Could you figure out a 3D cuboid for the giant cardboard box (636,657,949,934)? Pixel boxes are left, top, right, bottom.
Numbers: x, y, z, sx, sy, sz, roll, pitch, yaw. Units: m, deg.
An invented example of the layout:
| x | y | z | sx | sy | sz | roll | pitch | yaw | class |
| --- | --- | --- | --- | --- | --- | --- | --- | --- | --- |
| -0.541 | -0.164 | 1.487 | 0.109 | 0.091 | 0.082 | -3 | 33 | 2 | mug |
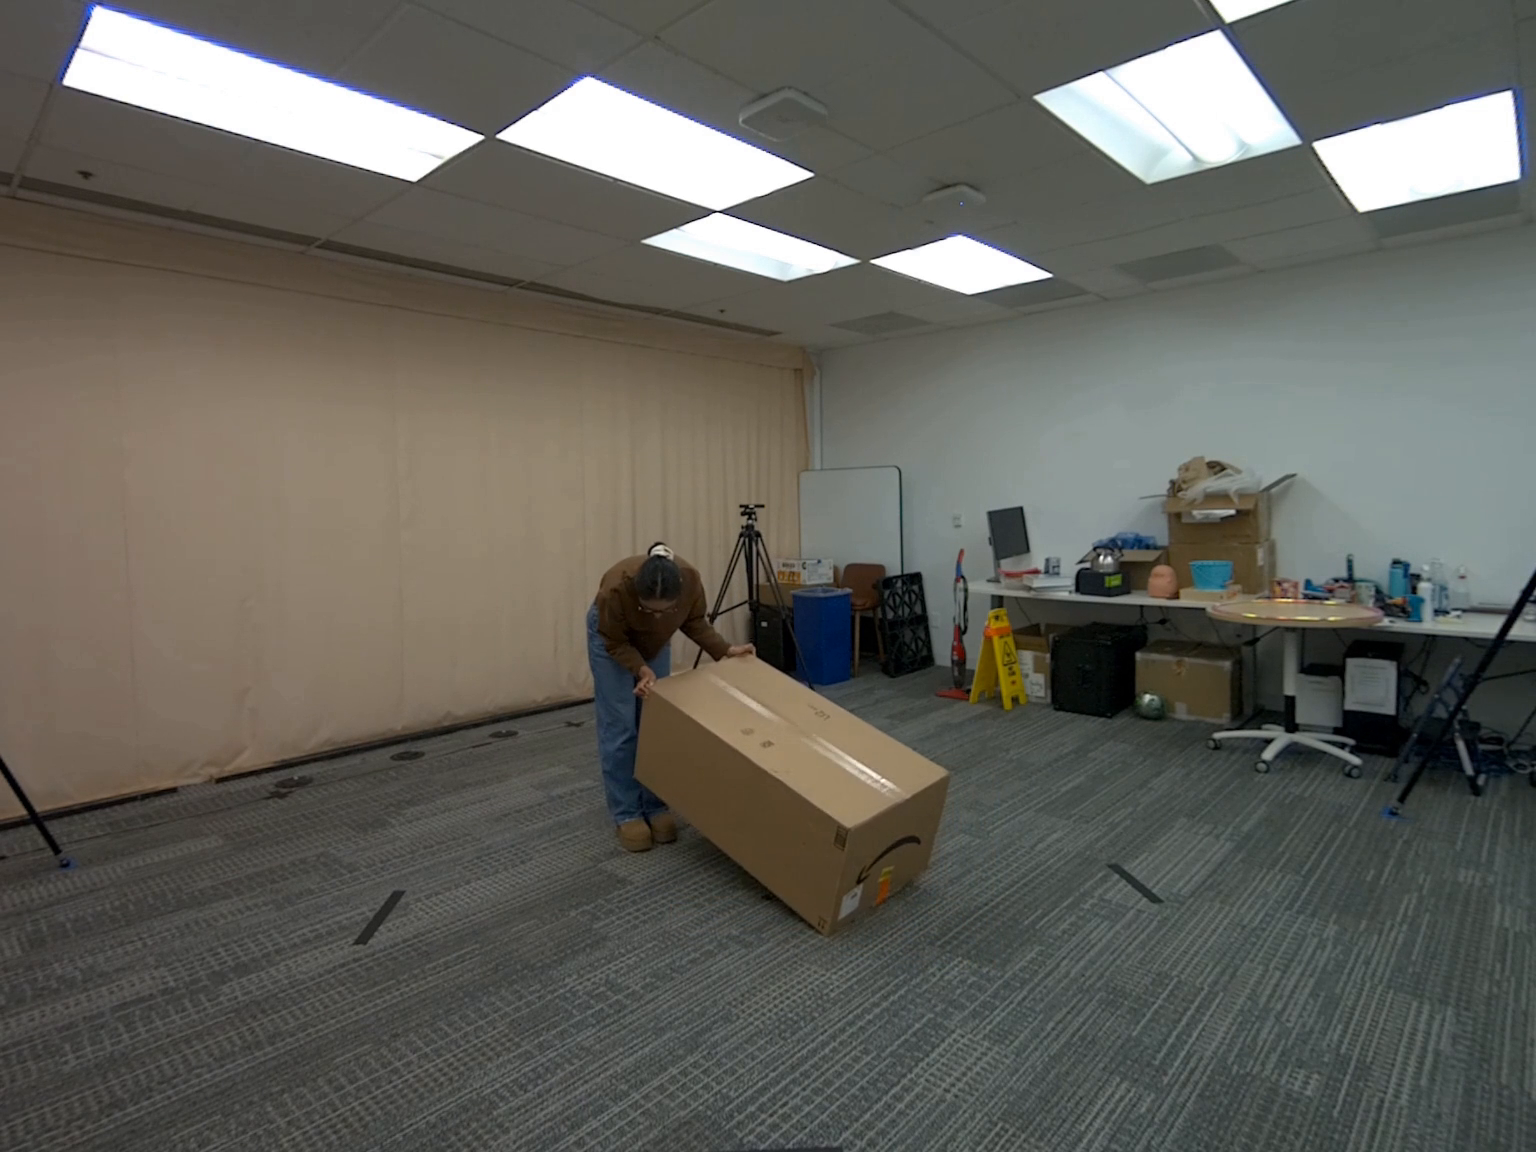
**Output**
| x | y | z | sx | sy | sz | roll | pitch | yaw | class |
| --- | --- | --- | --- | --- | --- | --- | --- | --- | --- |
| 0.063 | 0.749 | 3.159 | 0.567 | 0.443 | 1.065 | -11 | 28 | -44 | giant cardboard box |
